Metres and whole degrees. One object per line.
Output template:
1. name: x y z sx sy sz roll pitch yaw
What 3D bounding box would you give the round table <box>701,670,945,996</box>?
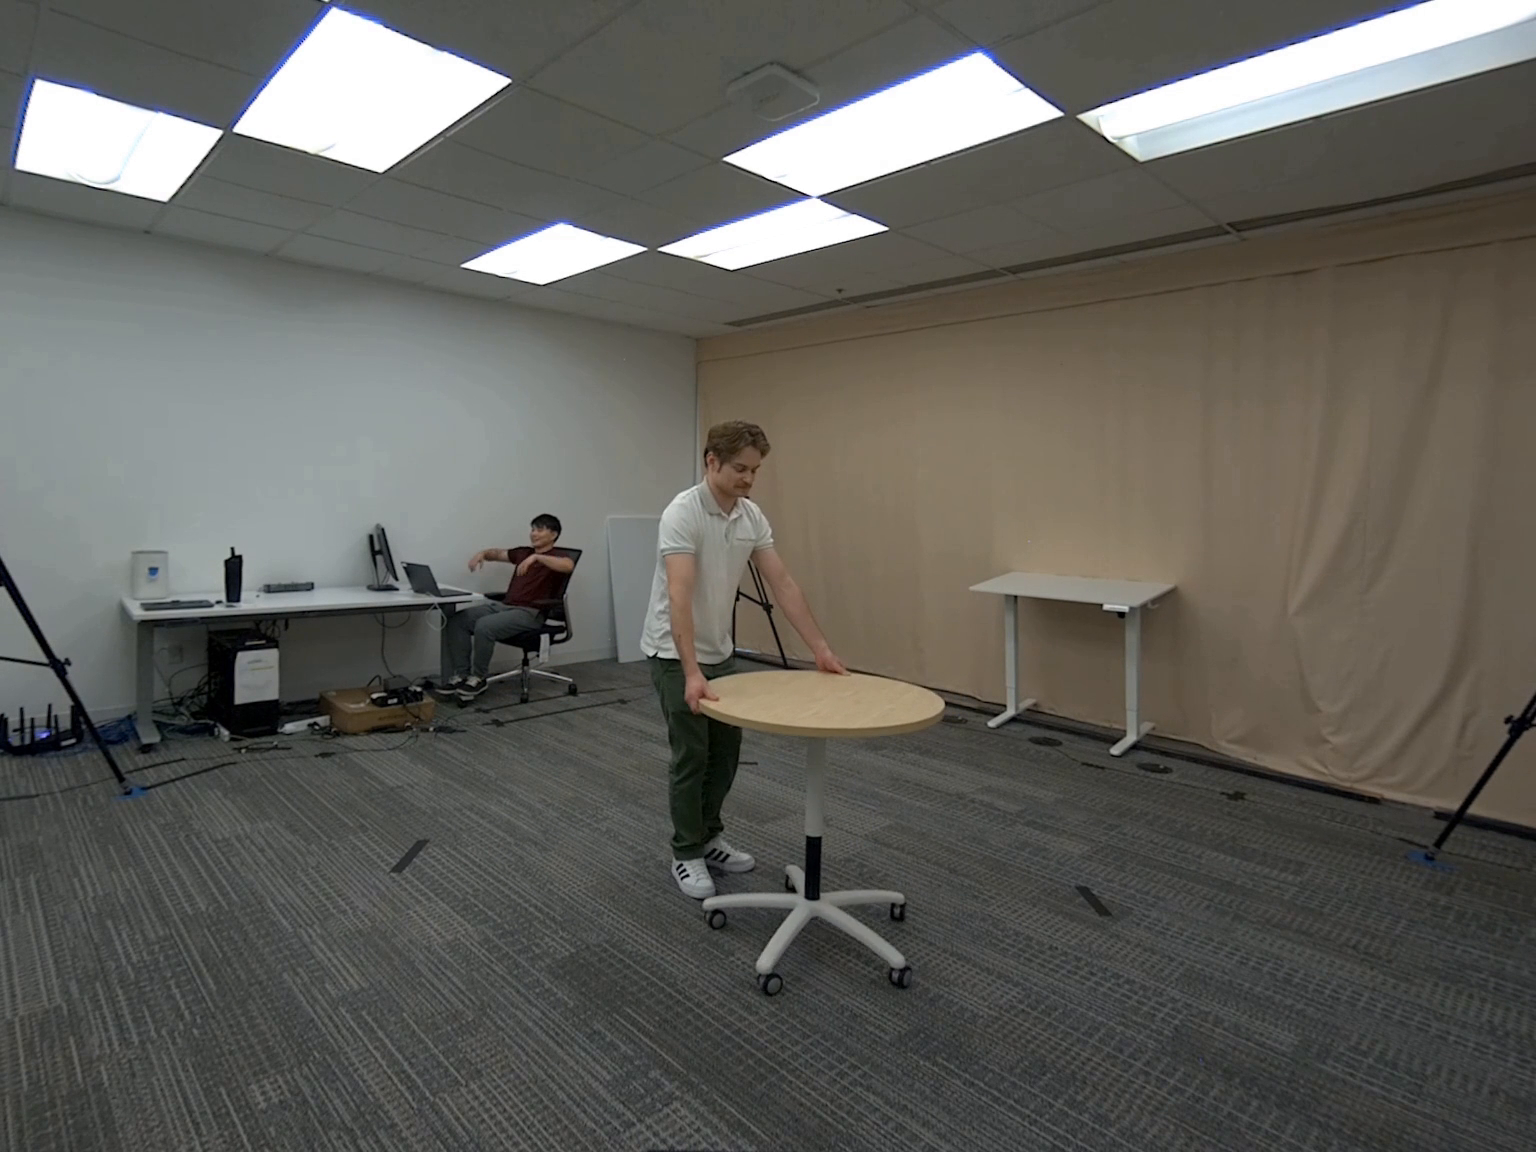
1. round table: 0.141 0.765 2.632 0.763 0.791 0.767 1 5 -1
